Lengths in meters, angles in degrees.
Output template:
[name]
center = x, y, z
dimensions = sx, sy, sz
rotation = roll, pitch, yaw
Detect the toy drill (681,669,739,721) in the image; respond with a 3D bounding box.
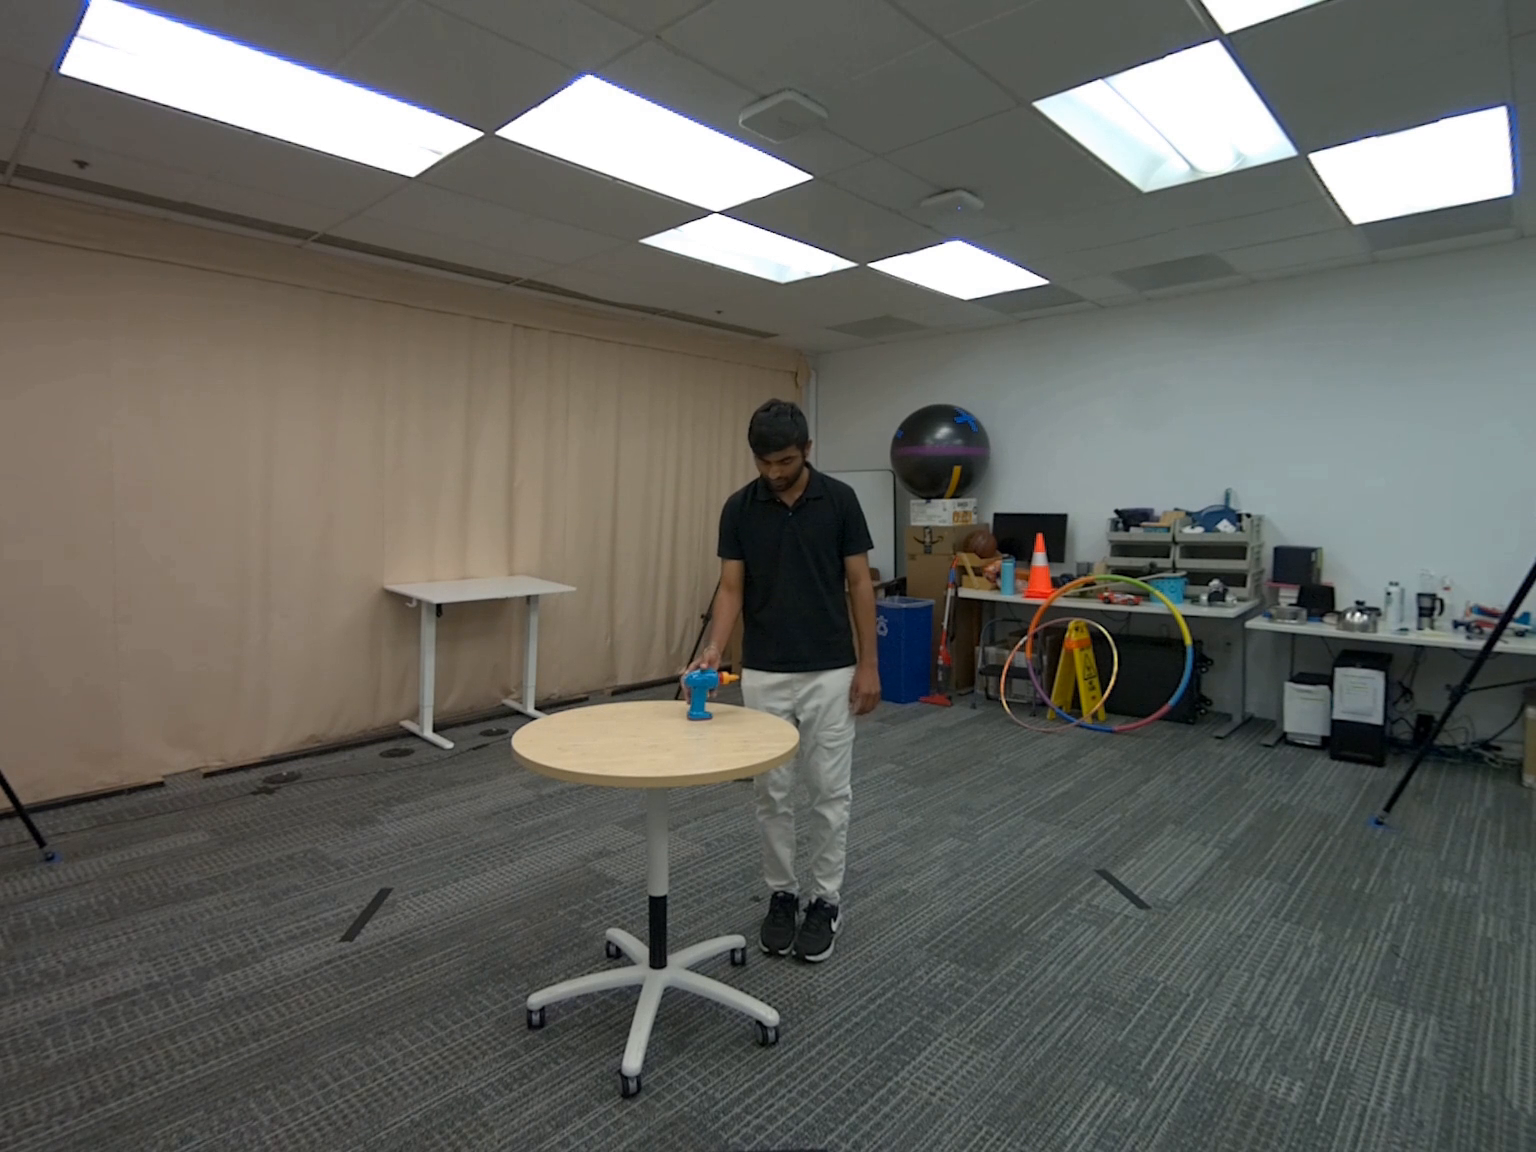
[toy drill]
center = -0.157, 0.338, 2.429
dimensions = 0.166, 0.146, 0.062
rotation = 0, 3, -20
